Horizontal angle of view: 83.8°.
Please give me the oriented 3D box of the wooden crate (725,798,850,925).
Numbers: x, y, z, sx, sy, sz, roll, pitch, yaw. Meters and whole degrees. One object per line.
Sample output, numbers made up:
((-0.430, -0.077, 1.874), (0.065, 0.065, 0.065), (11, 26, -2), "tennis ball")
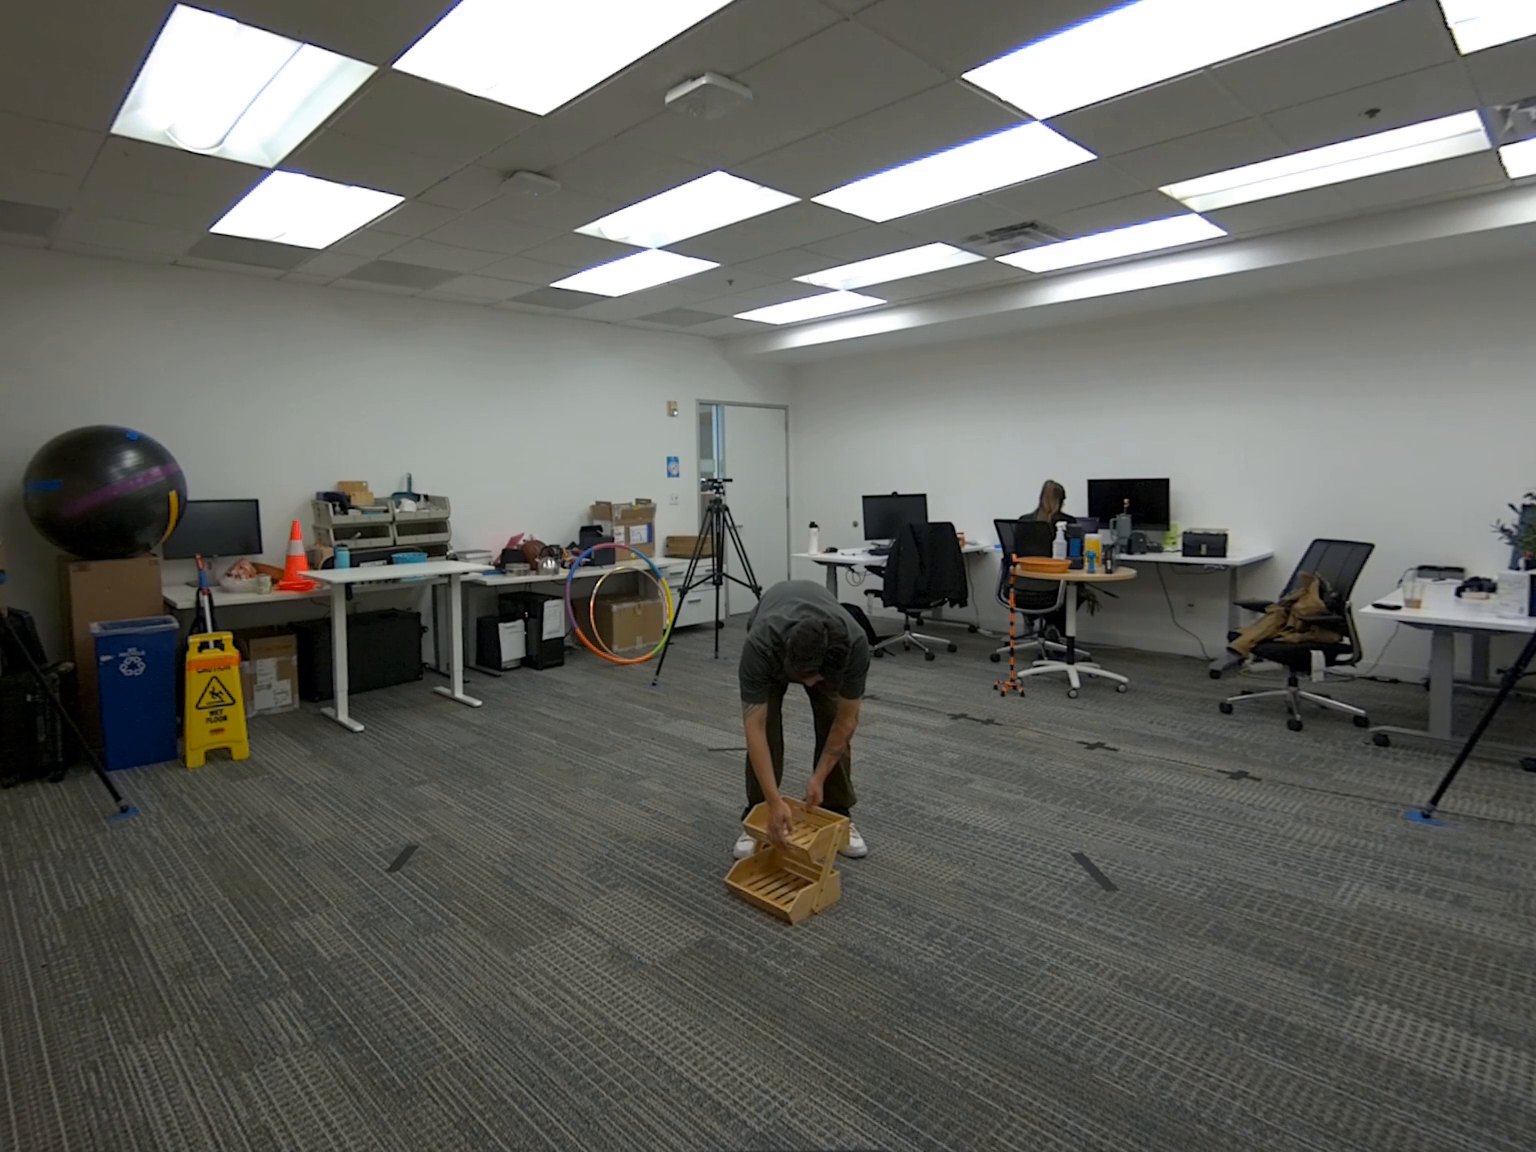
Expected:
((0.062, 0.938, 2.863), (0.294, 0.272, 0.334), (-6, 6, -43), "wooden crate")
